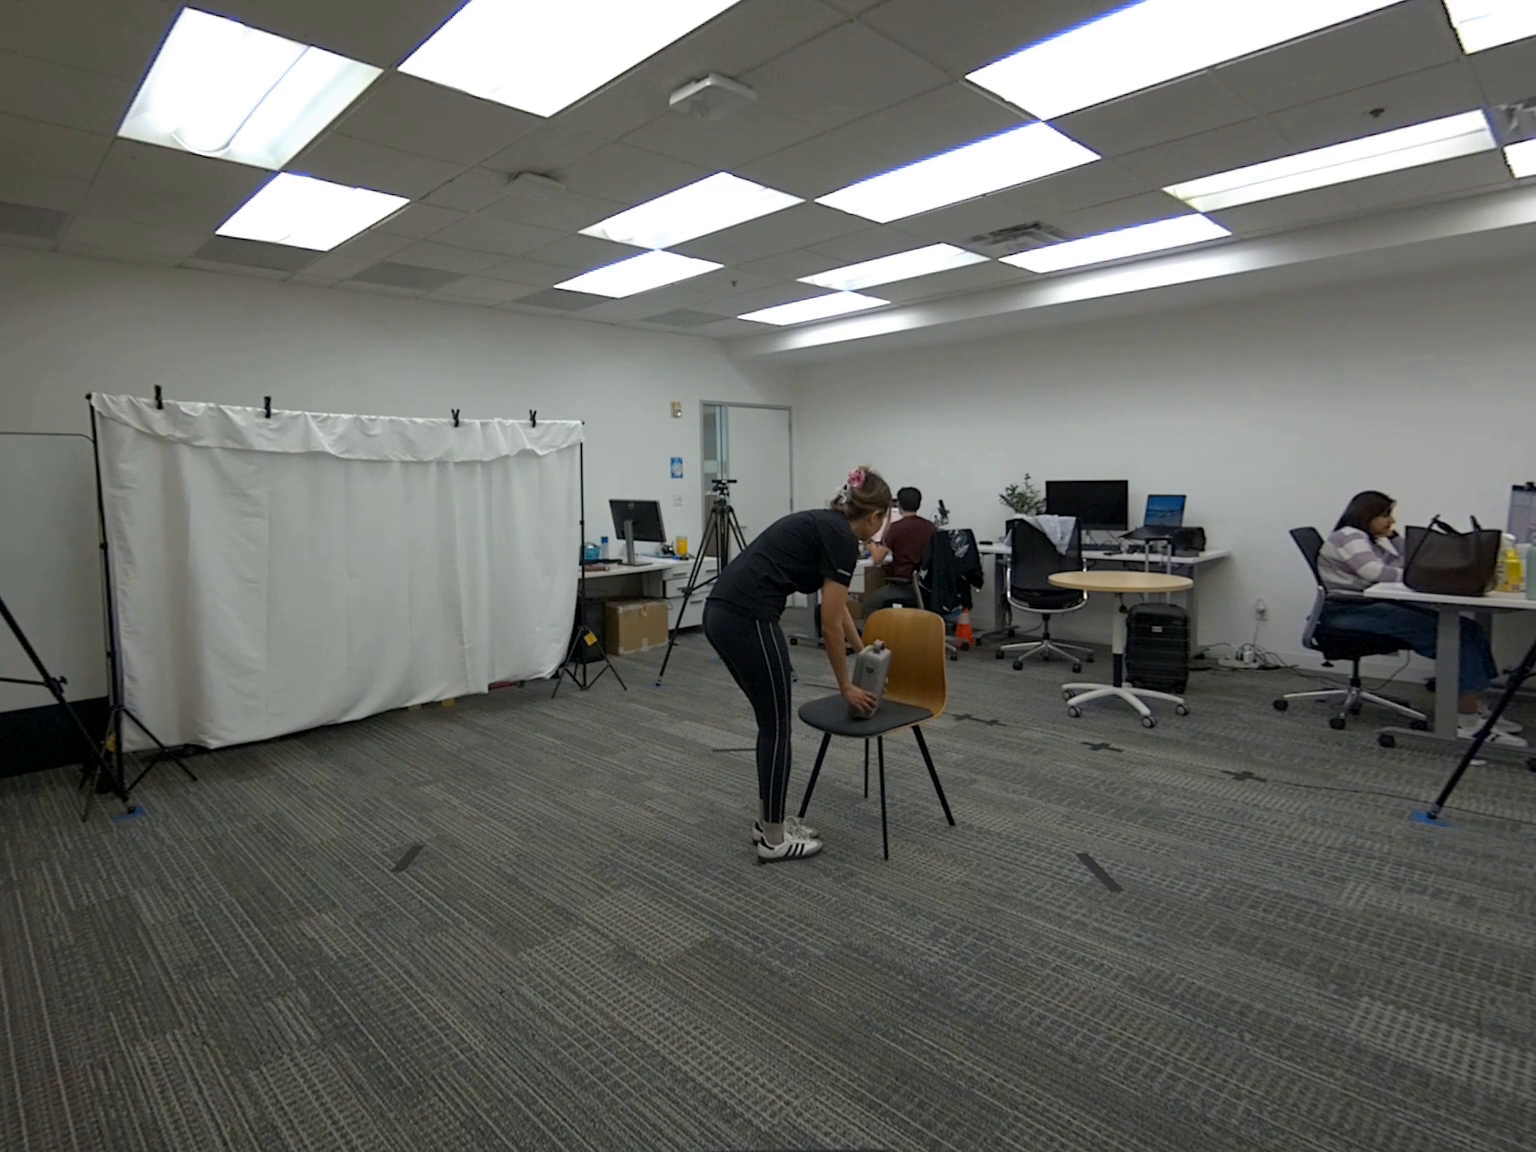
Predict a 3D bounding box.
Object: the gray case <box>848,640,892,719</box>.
[{"bbox_3d":[0.399,0.406,3.349,0.107,0.259,0.252,14,8,19],"label":"gray case"}]
